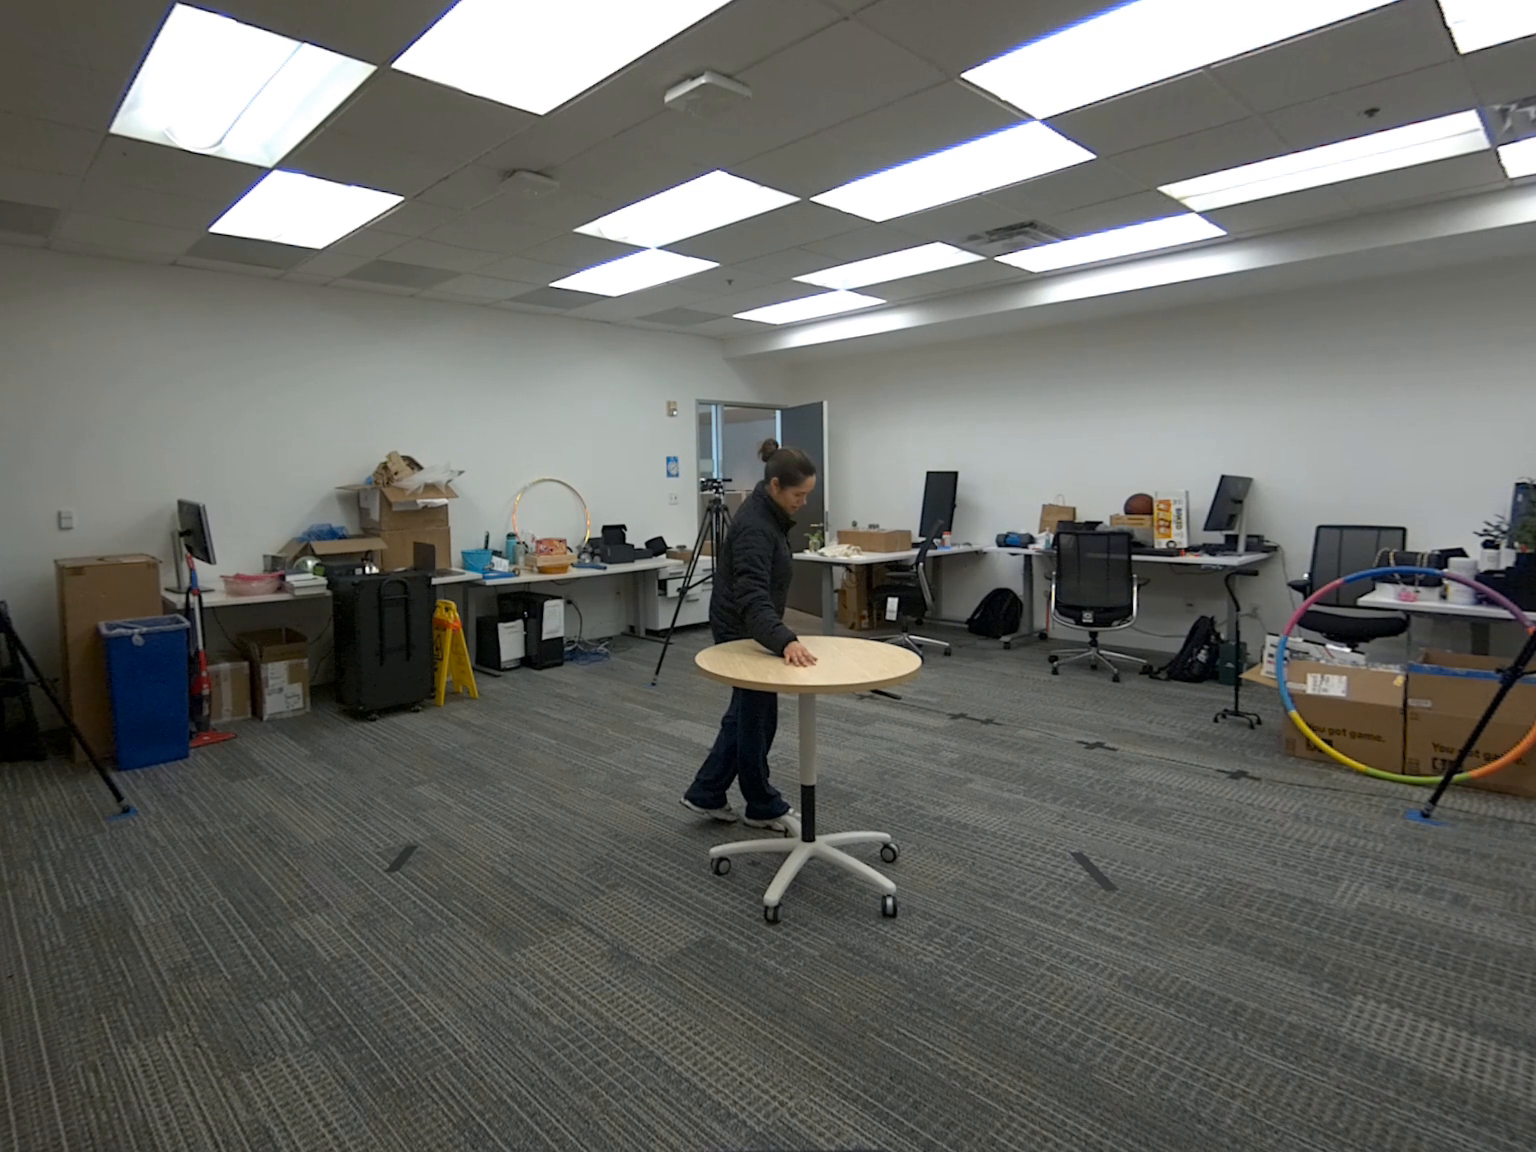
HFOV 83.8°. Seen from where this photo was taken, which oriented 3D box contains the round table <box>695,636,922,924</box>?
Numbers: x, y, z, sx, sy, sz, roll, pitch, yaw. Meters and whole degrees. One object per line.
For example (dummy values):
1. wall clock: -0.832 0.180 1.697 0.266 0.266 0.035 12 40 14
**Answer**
1. round table: 0.130 0.667 2.952 0.784 0.783 0.789 -1 5 -2
